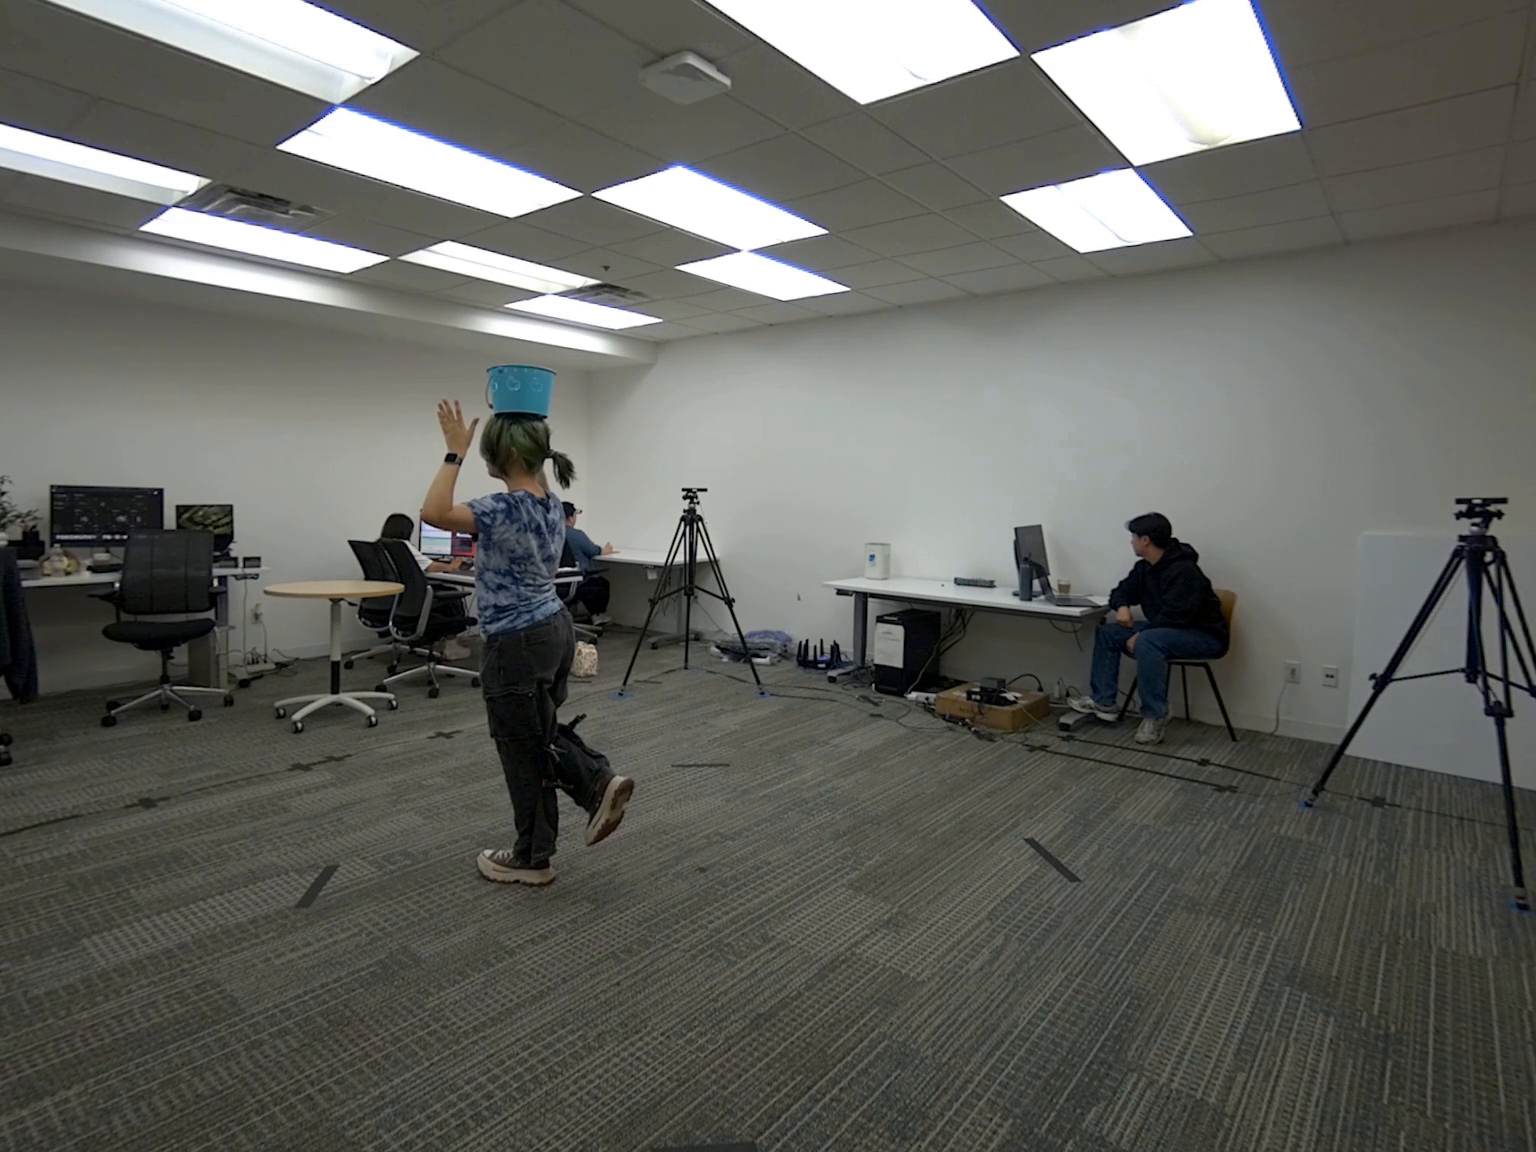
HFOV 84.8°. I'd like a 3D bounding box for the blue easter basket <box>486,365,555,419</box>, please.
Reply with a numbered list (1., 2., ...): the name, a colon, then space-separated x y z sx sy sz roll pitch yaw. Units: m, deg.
1. blue easter basket: -0.857 -0.624 2.904 0.243 0.156 0.244 1 1 -2
